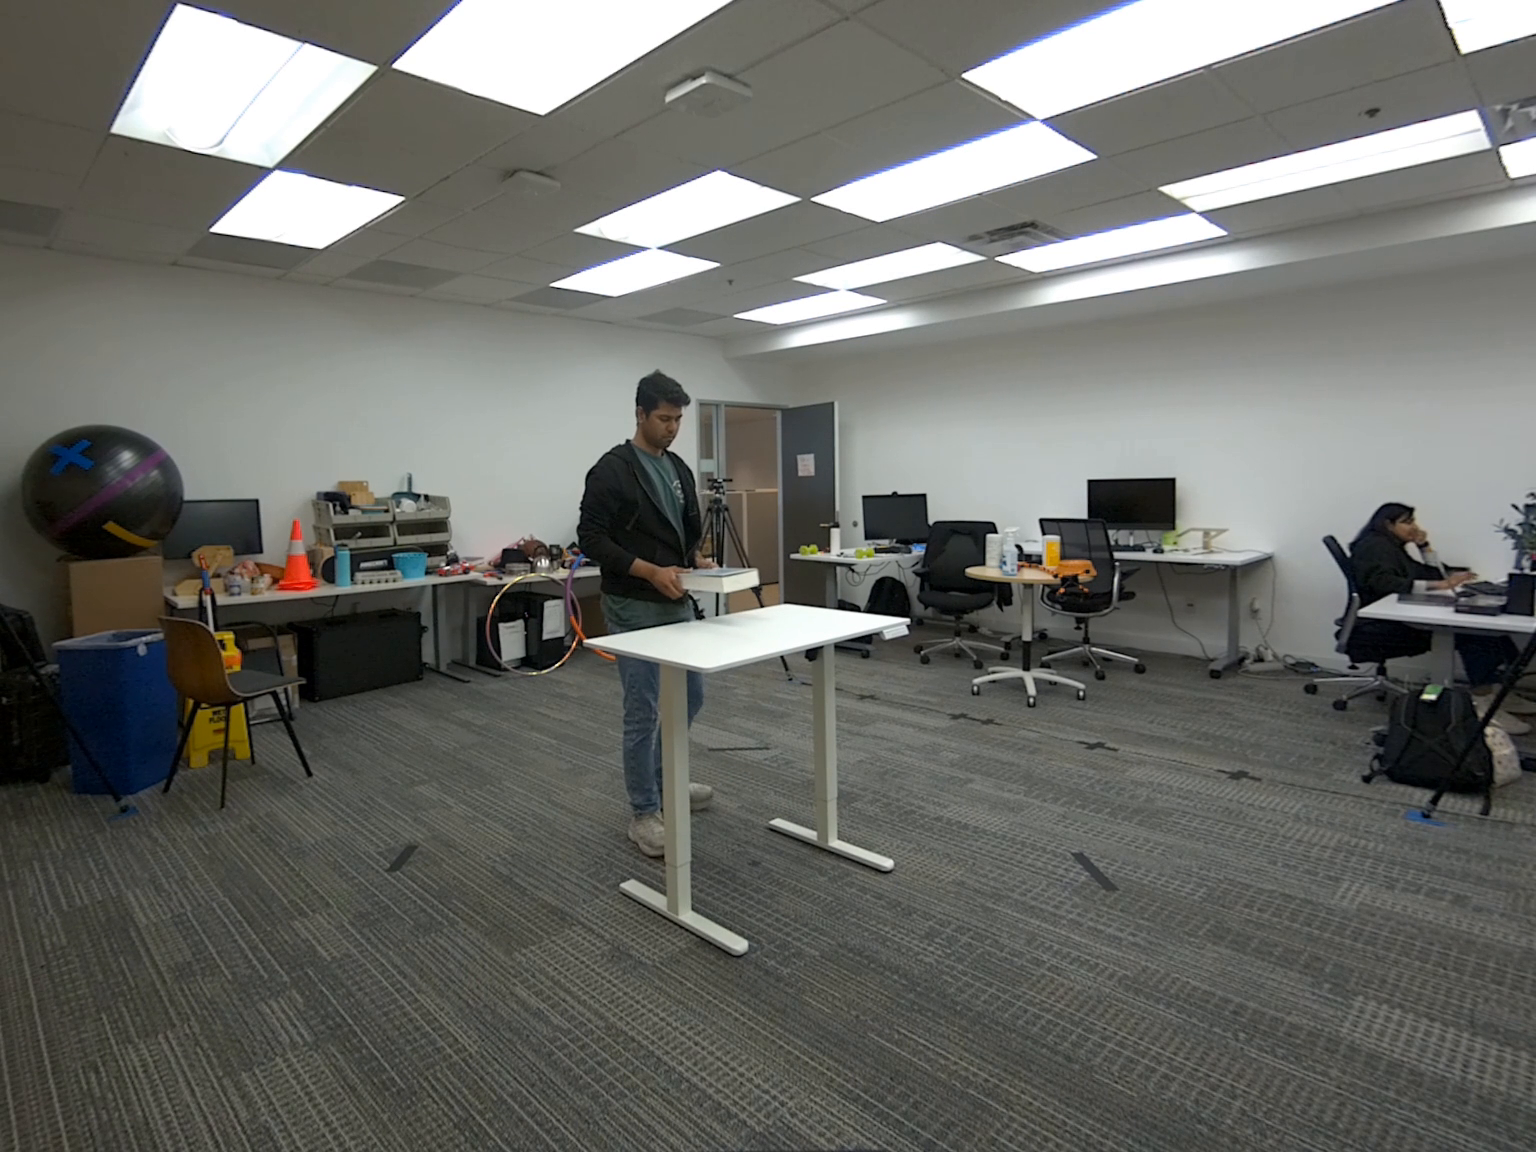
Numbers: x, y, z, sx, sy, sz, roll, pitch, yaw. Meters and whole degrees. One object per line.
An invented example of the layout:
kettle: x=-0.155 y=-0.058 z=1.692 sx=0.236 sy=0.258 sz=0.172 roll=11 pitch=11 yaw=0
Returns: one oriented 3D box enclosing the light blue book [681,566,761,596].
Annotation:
light blue book: x=-0.187 y=0.013 z=3.117 sx=0.187 sy=0.059 sz=0.269 roll=-11 pitch=9 yaw=-44
